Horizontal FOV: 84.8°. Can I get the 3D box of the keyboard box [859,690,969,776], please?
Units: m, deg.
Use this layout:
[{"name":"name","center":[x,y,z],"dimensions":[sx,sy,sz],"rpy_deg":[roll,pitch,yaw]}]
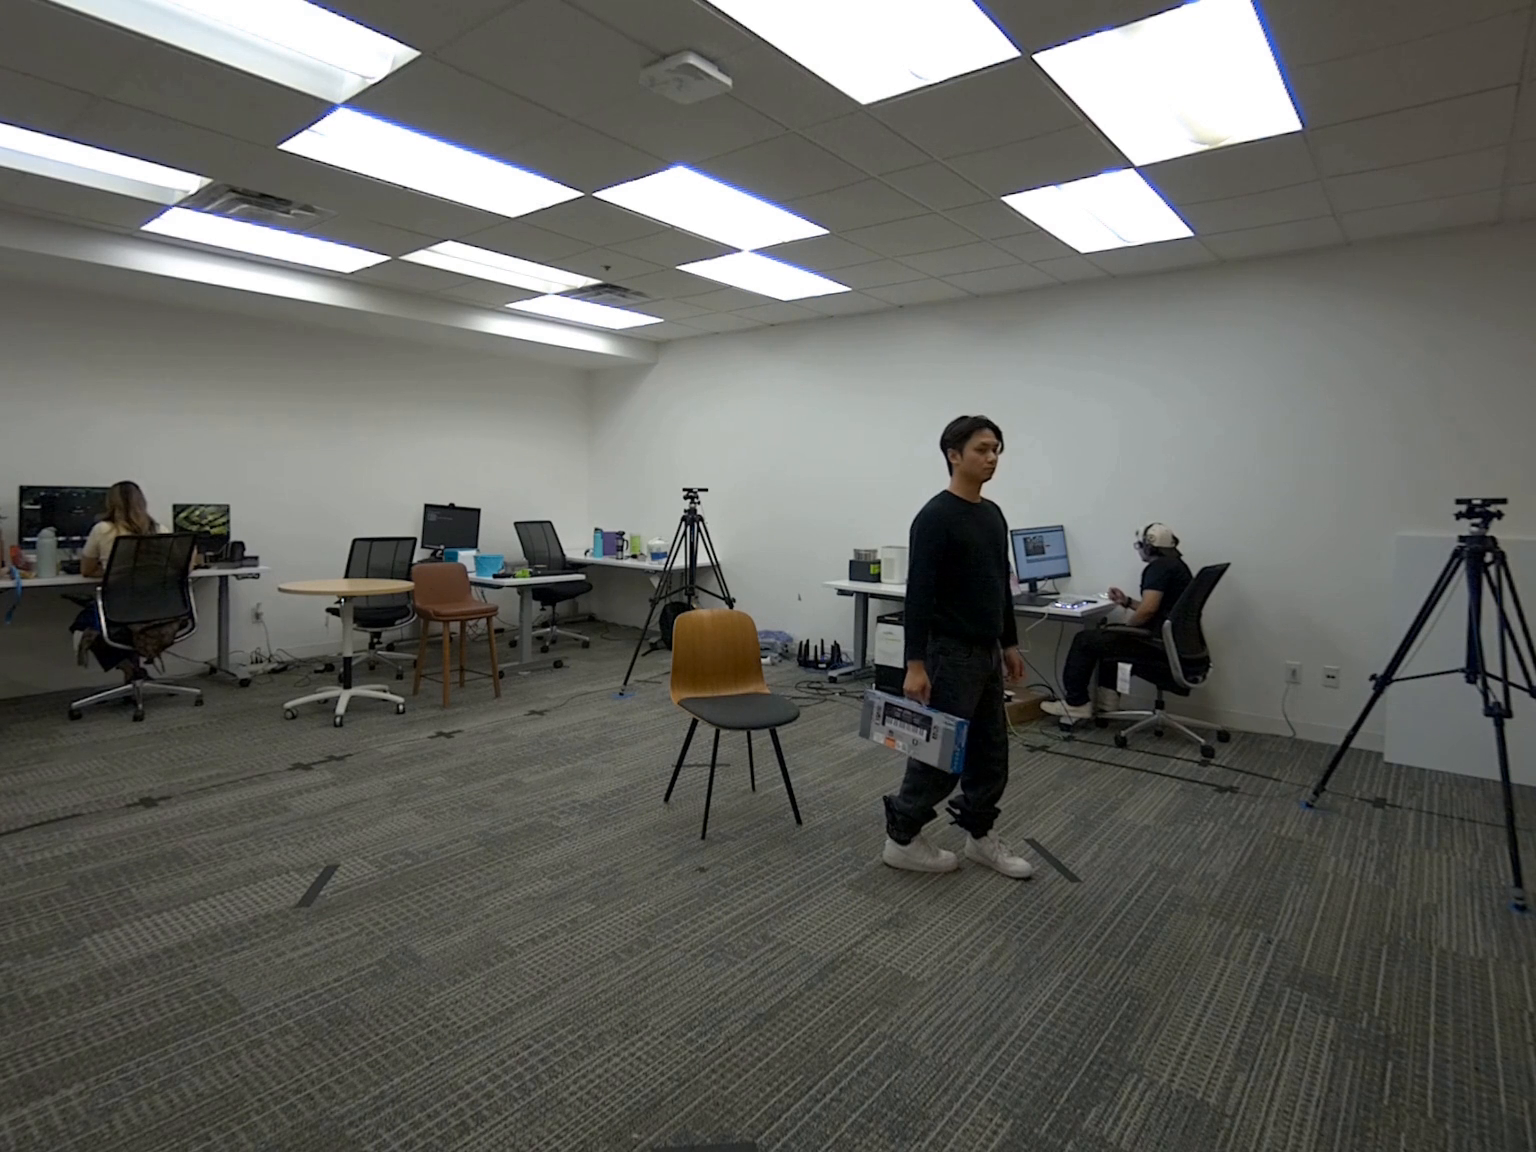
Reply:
[{"name":"keyboard box","center":[0.498,0.528,2.943],"dimensions":[0.057,0.176,0.451],"rpy_deg":[7,2,-35]}]
